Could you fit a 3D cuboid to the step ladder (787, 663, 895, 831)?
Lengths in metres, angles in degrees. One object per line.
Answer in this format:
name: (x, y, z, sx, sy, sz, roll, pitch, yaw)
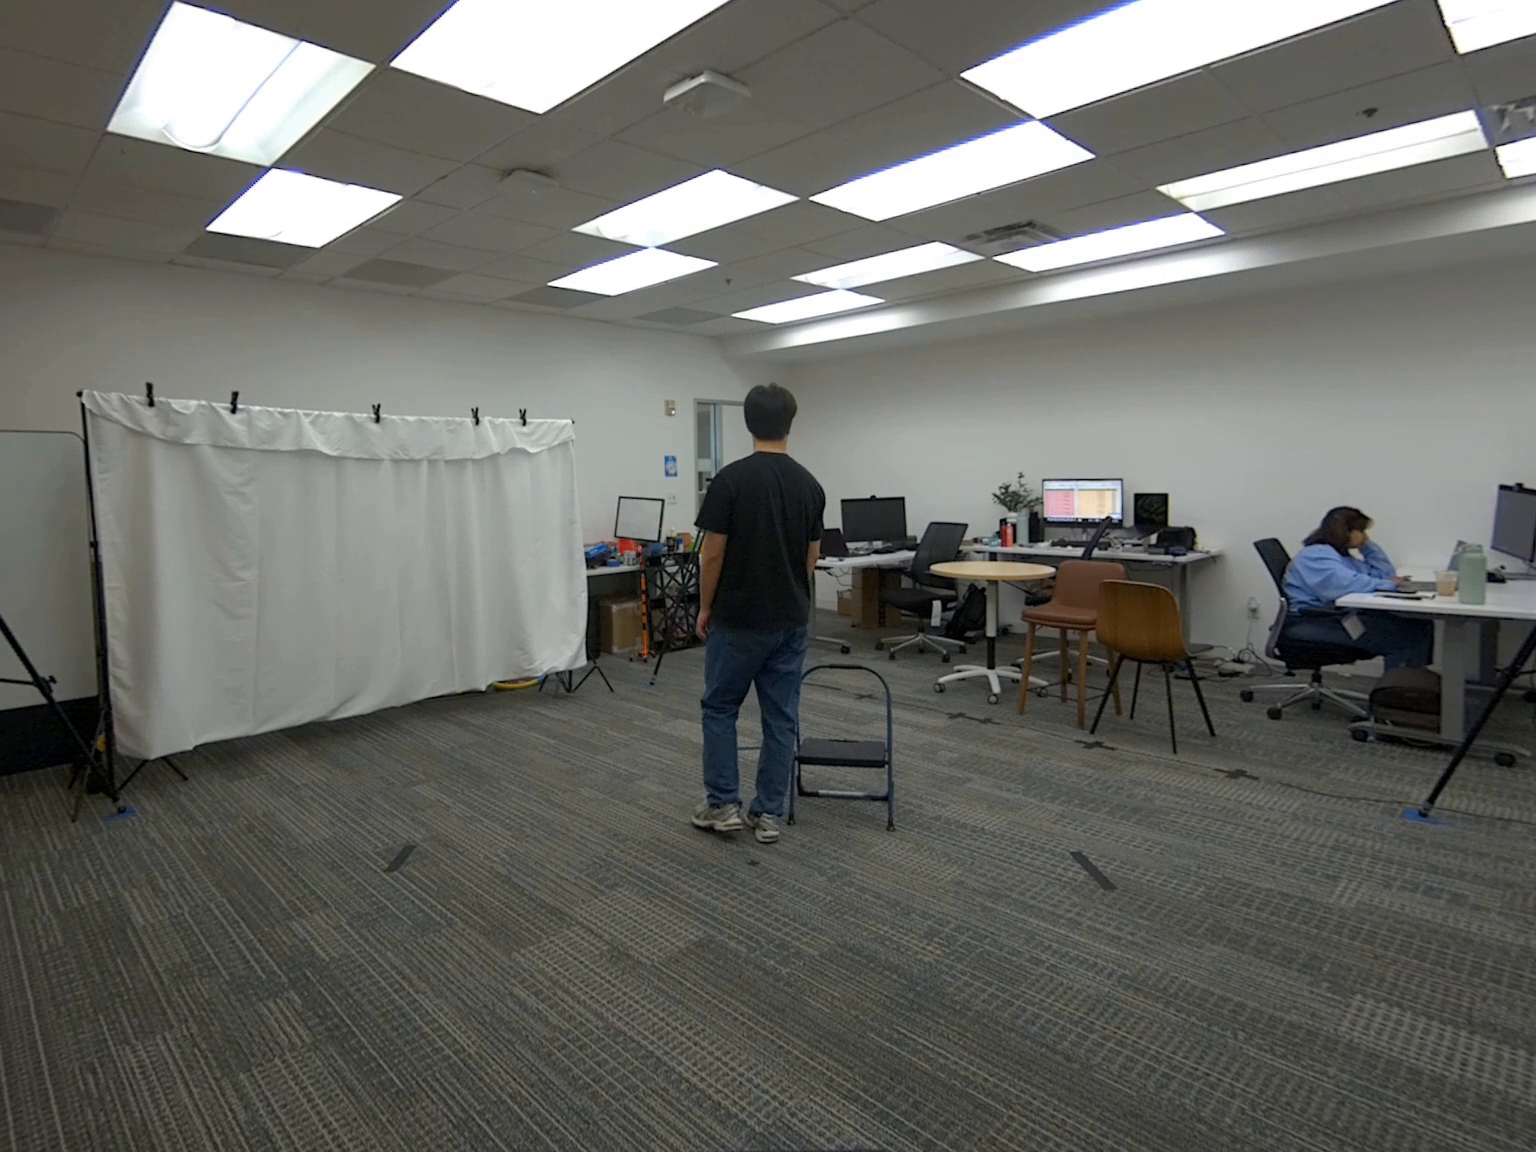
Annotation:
step ladder: (0.316, 0.686, 3.559, 0.435, 0.604, 0.347, 1, 4, 9)
